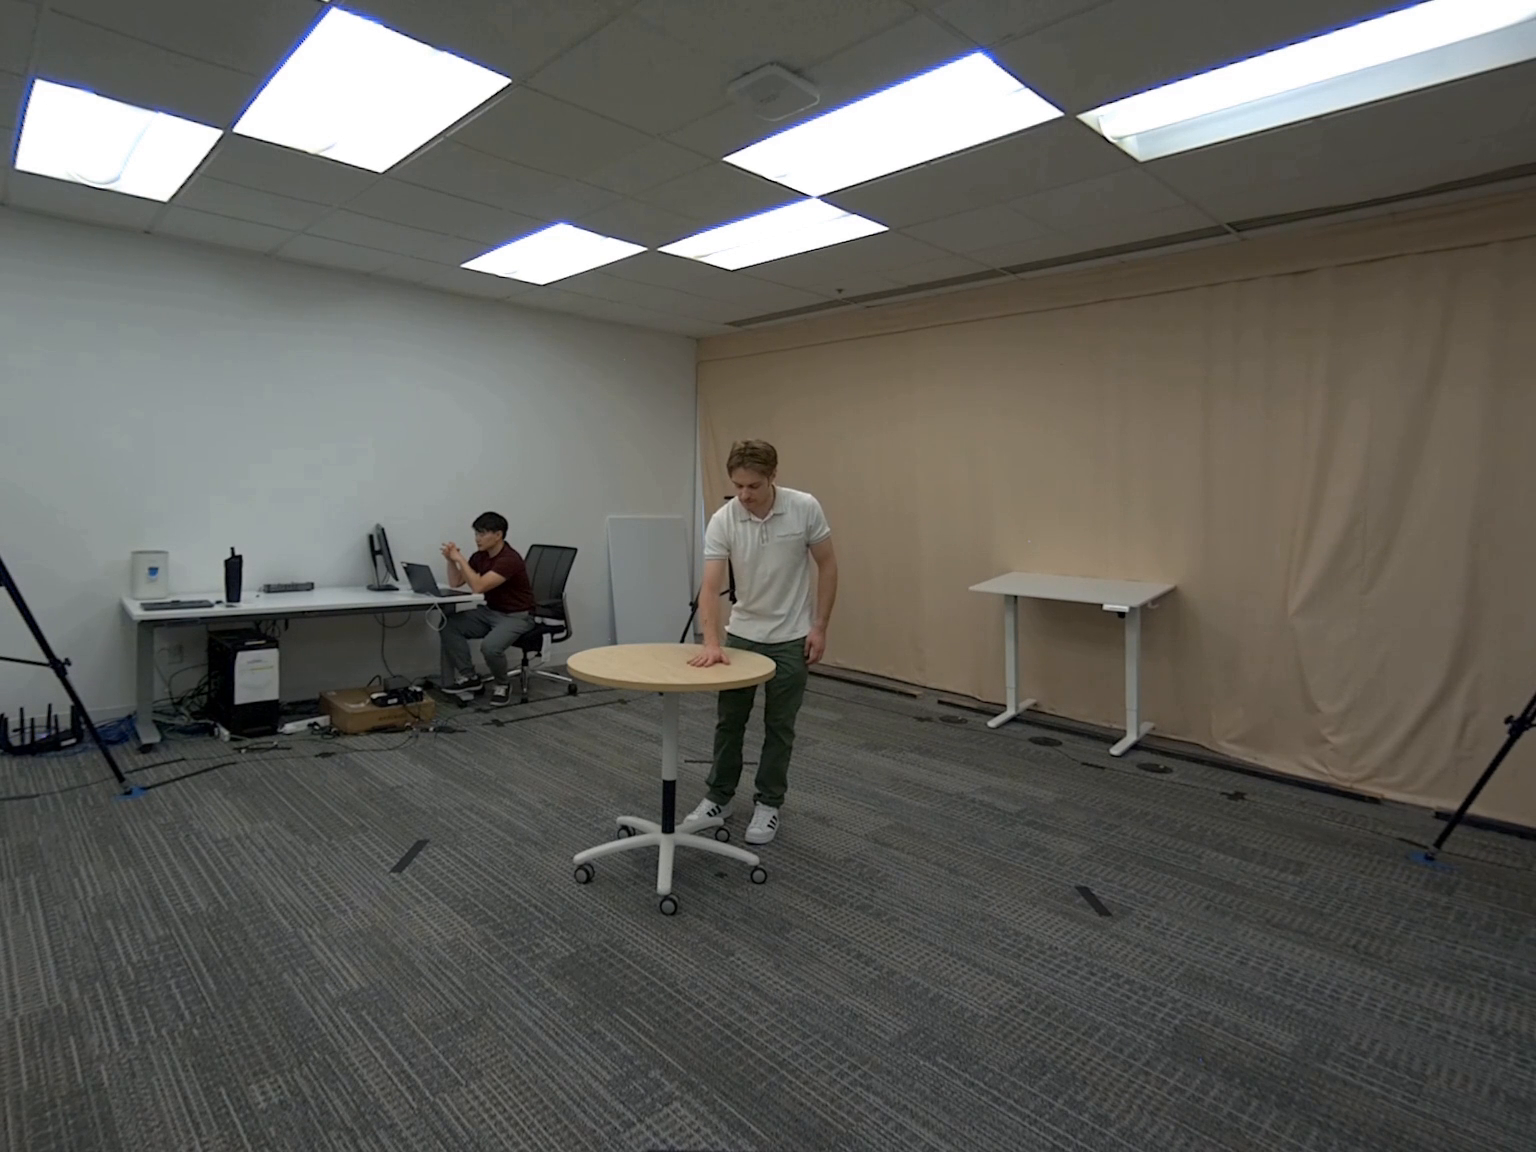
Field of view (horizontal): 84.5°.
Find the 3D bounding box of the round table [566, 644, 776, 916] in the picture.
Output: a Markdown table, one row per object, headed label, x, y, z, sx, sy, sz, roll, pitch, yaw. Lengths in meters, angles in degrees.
| label | x | y | z | sx | sy | sz | roll | pitch | yaw |
| --- | --- | --- | --- | --- | --- | --- | --- | --- | --- |
| round table | -0.386 | 0.704 | 3.120 | 0.784 | 0.785 | 0.787 | 2 | 4 | -1 |
